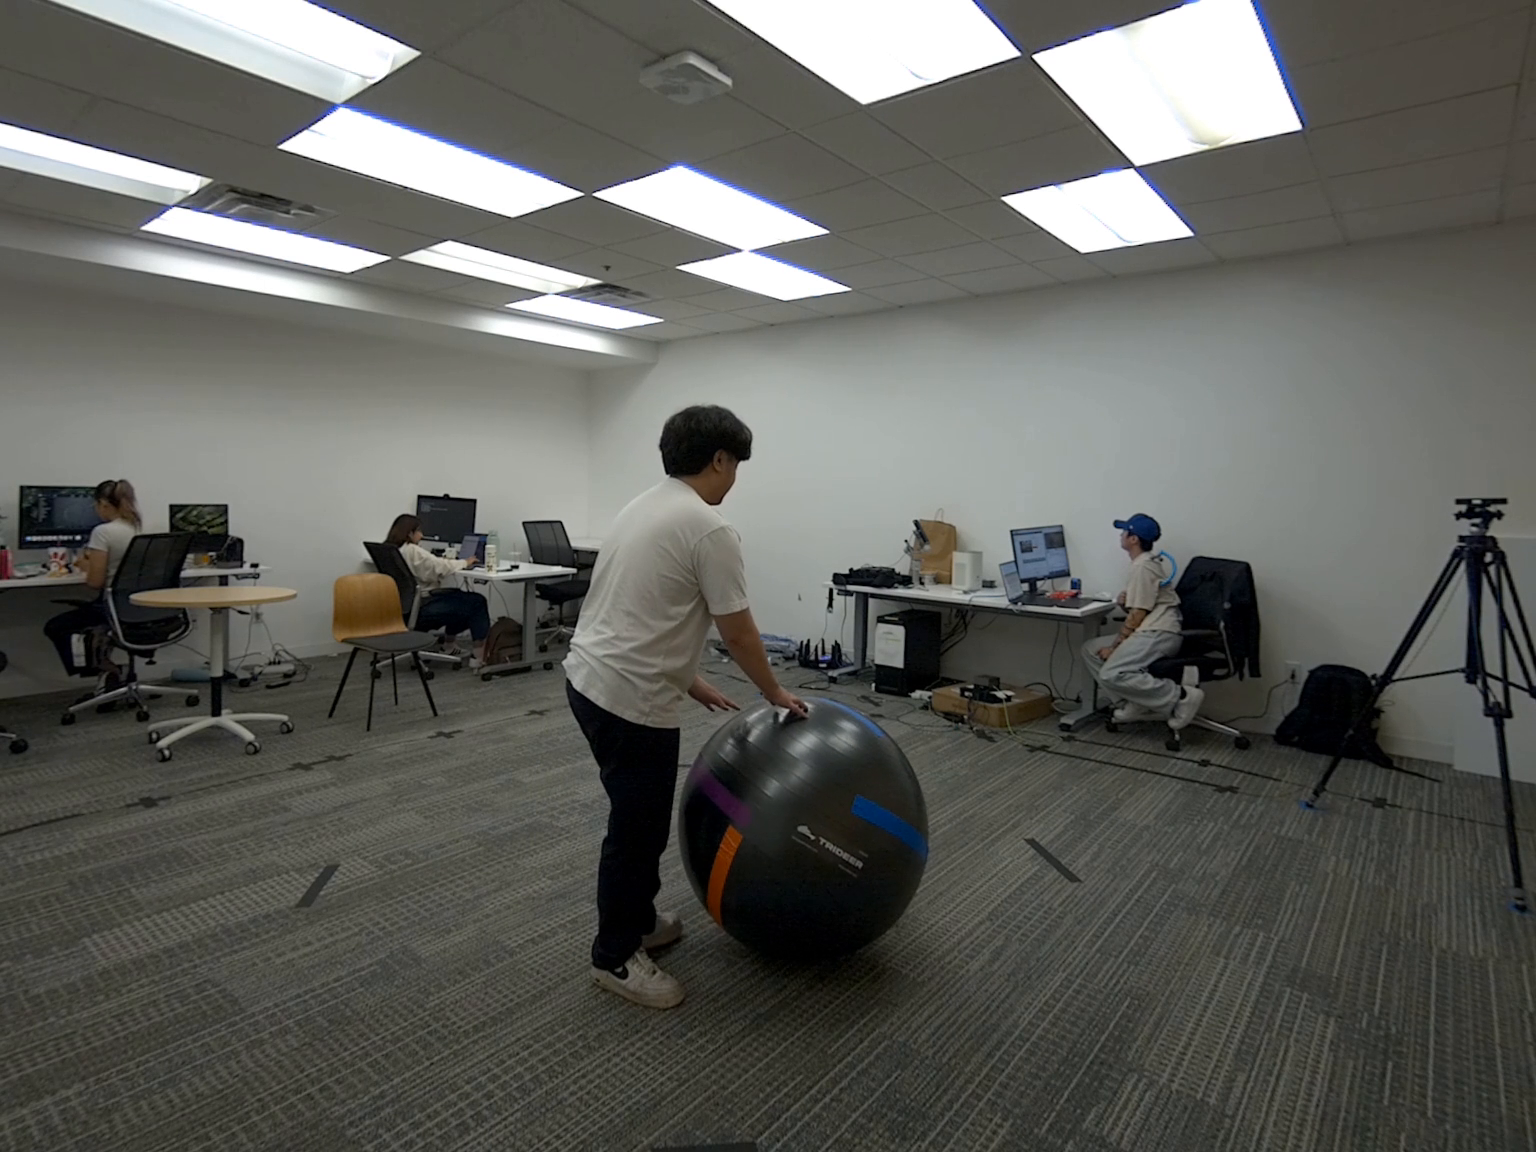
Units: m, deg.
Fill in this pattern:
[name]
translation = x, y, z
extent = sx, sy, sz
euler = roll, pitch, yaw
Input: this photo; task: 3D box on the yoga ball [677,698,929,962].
[yoga ball]
translation = 0.109, 0.760, 2.599
extent = 0.757, 0.755, 0.762
euler = 1, 4, -2
